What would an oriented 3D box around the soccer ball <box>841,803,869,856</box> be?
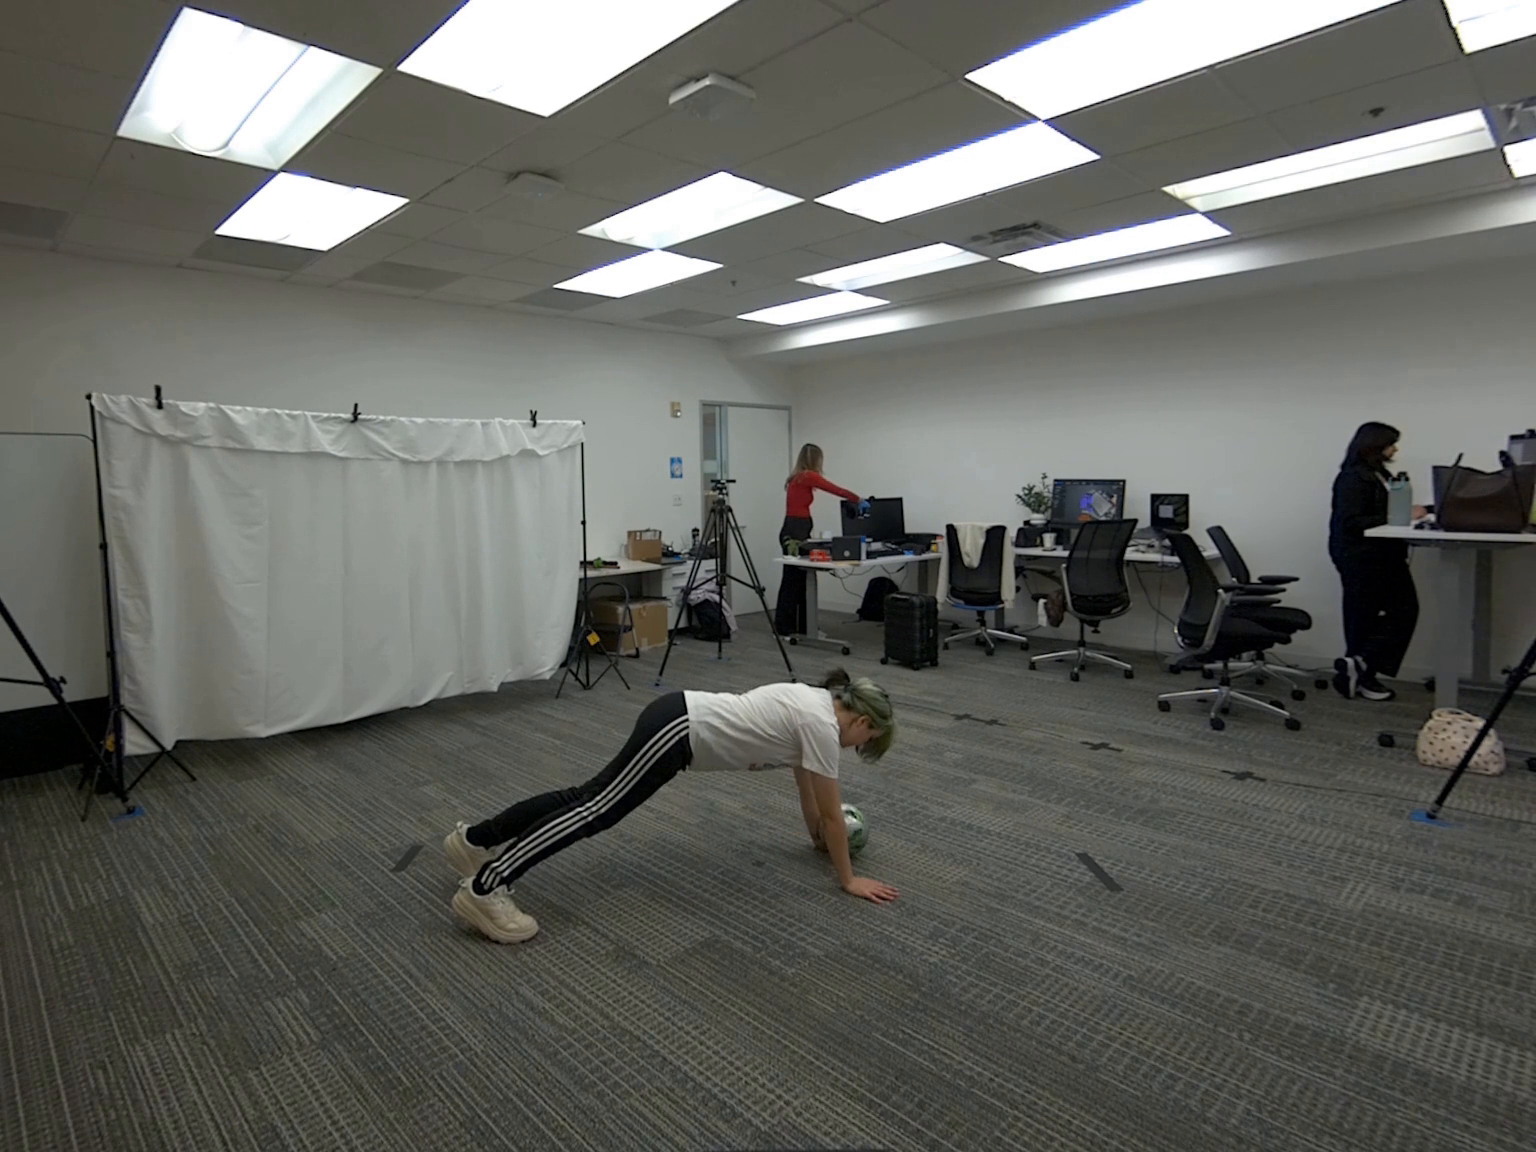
[{"bbox_3d":[0.287,0.945,3.139,0.187,0.187,0.188,-1,5,-2],"label":"soccer ball"}]
